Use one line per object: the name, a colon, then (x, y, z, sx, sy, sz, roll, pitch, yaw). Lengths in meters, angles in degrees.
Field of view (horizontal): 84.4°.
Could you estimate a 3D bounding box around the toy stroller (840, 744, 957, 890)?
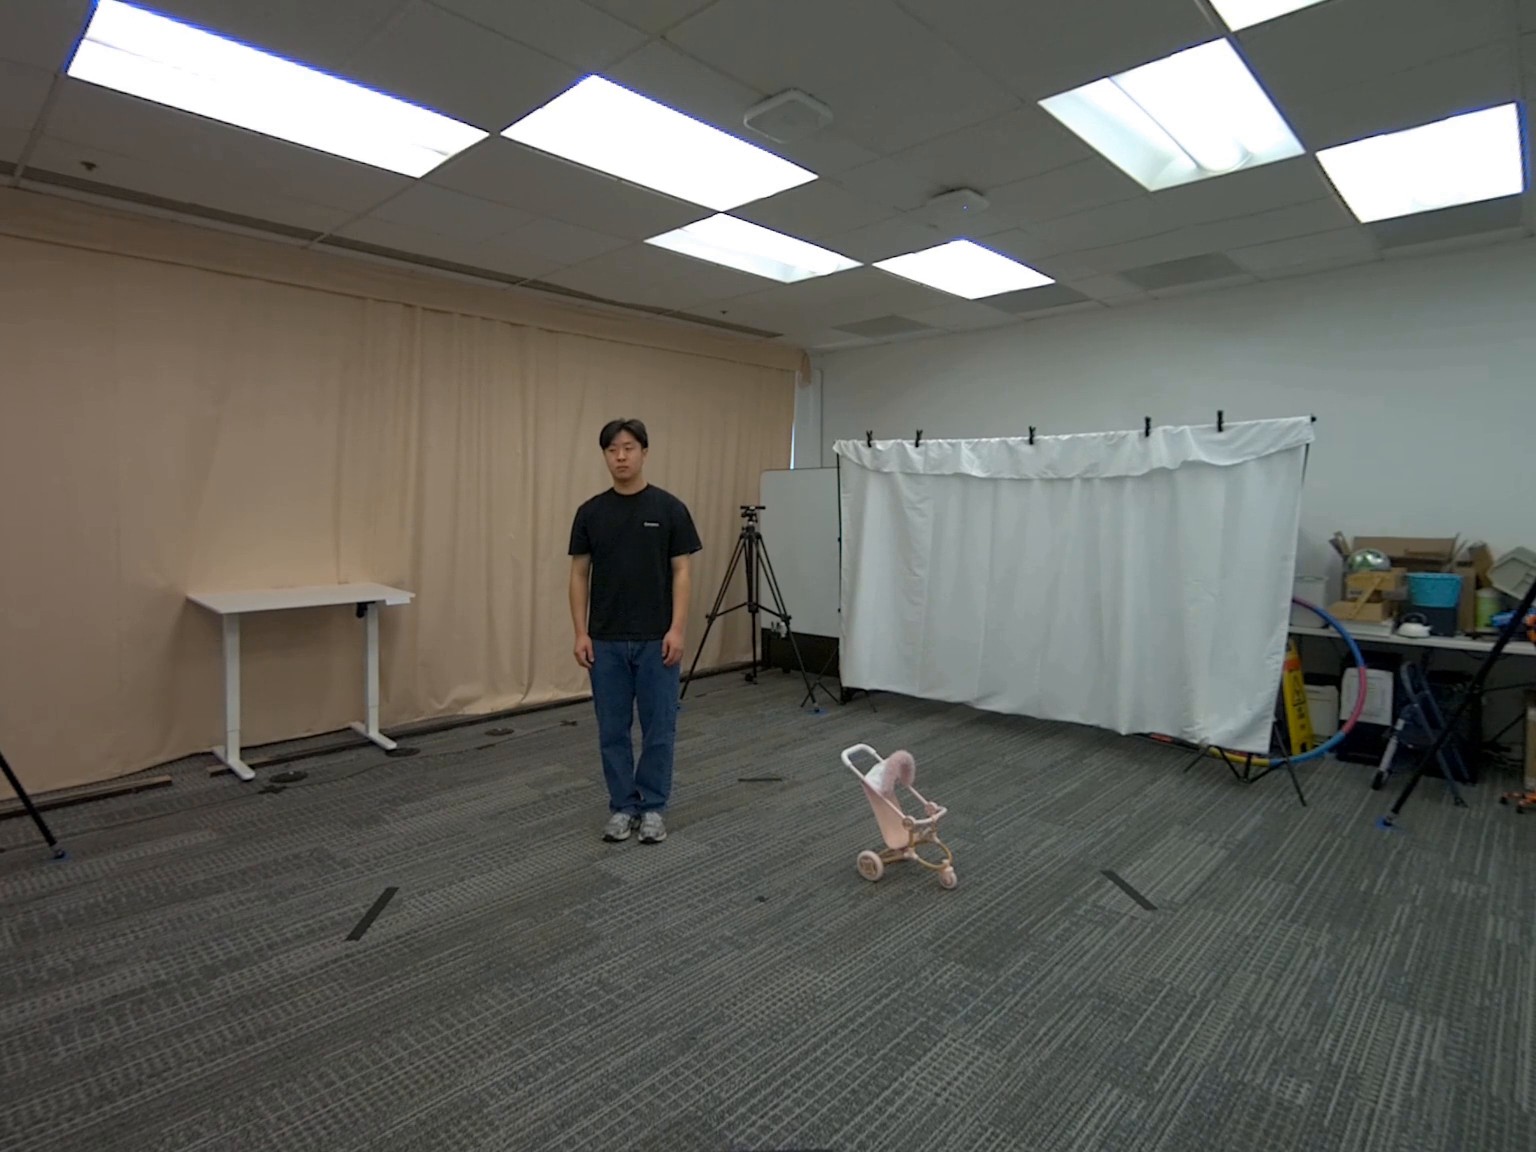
toy stroller: (0.509, 0.899, 3.168, 0.350, 0.538, 0.273, -17, -9, 42)
